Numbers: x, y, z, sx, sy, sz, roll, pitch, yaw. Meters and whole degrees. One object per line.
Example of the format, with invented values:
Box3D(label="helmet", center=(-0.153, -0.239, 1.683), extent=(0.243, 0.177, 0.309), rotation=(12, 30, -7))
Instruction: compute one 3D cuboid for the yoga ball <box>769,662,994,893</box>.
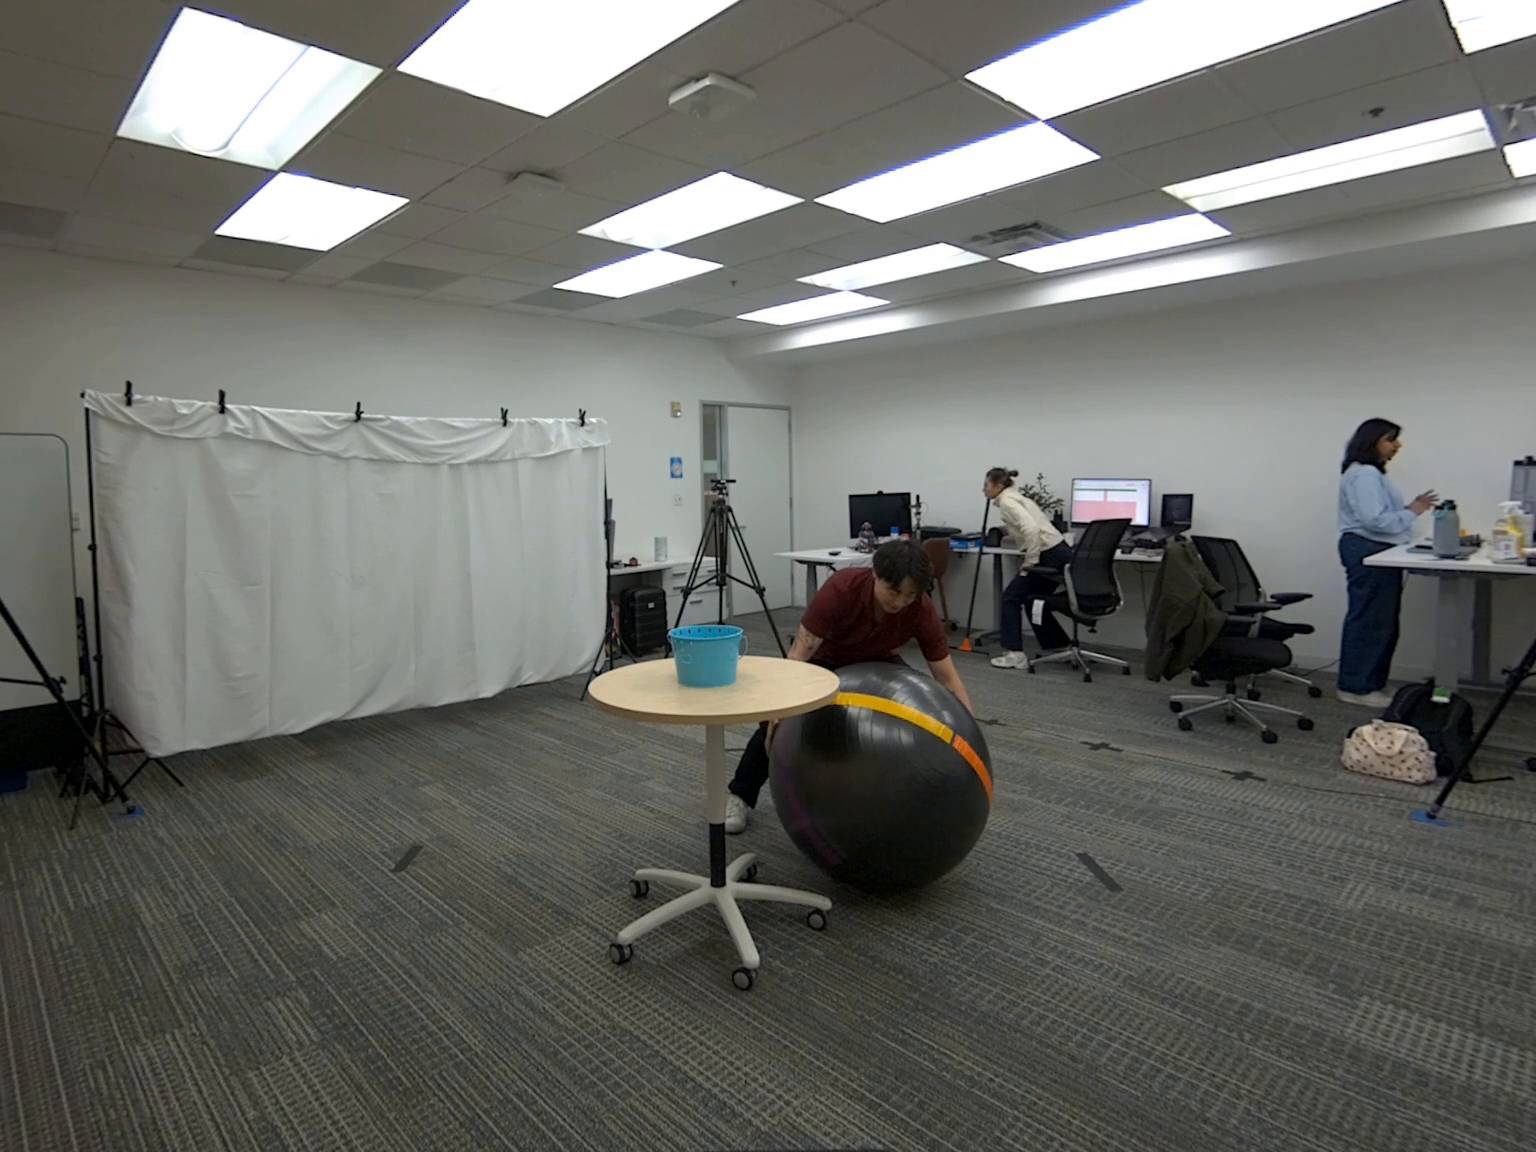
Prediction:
Box3D(label="yoga ball", center=(0.386, 0.694, 2.956), extent=(0.757, 0.755, 0.762), rotation=(-1, 5, -2))
